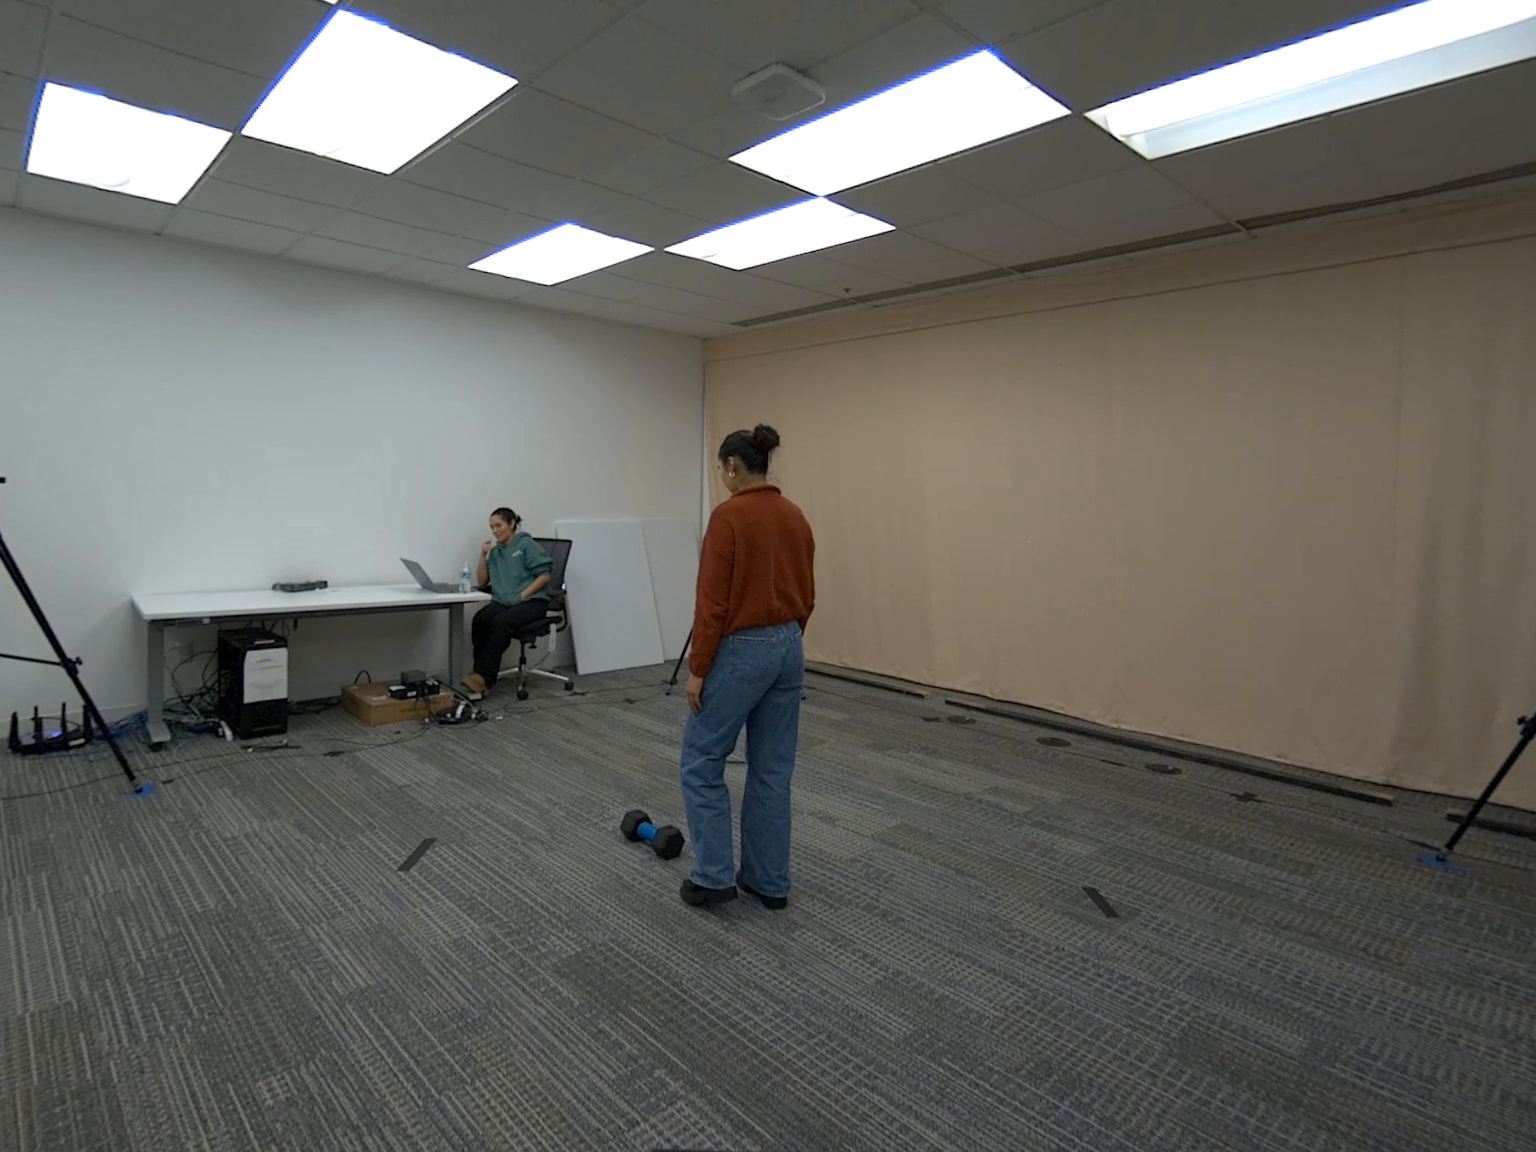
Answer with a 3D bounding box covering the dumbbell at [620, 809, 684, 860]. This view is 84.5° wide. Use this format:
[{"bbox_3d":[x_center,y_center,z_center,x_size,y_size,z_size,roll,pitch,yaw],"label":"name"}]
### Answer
[{"bbox_3d":[-0.467,1.021,3.329,0.120,0.108,0.301,-4,7,-43],"label":"dumbbell"}]
